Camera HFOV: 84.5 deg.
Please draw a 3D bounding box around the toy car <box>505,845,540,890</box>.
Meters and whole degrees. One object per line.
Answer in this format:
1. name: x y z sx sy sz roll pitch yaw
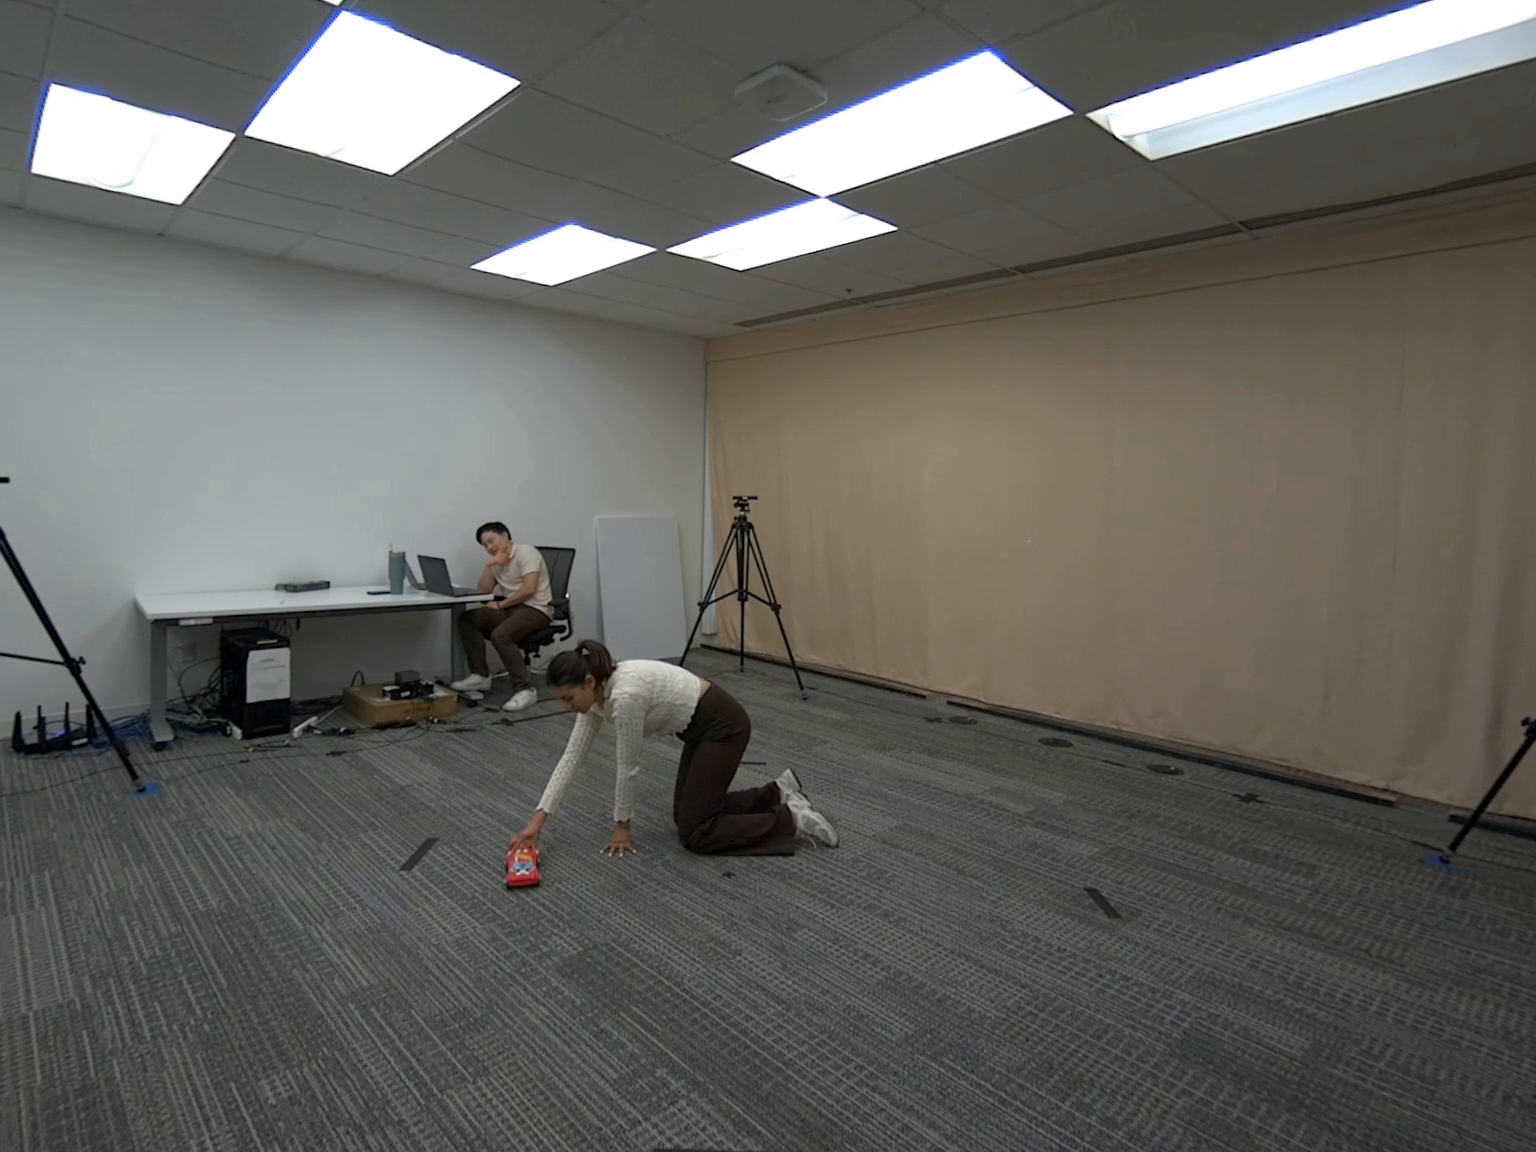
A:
1. toy car: -0.901 1.059 3.059 0.129 0.082 0.260 1 16 -16
